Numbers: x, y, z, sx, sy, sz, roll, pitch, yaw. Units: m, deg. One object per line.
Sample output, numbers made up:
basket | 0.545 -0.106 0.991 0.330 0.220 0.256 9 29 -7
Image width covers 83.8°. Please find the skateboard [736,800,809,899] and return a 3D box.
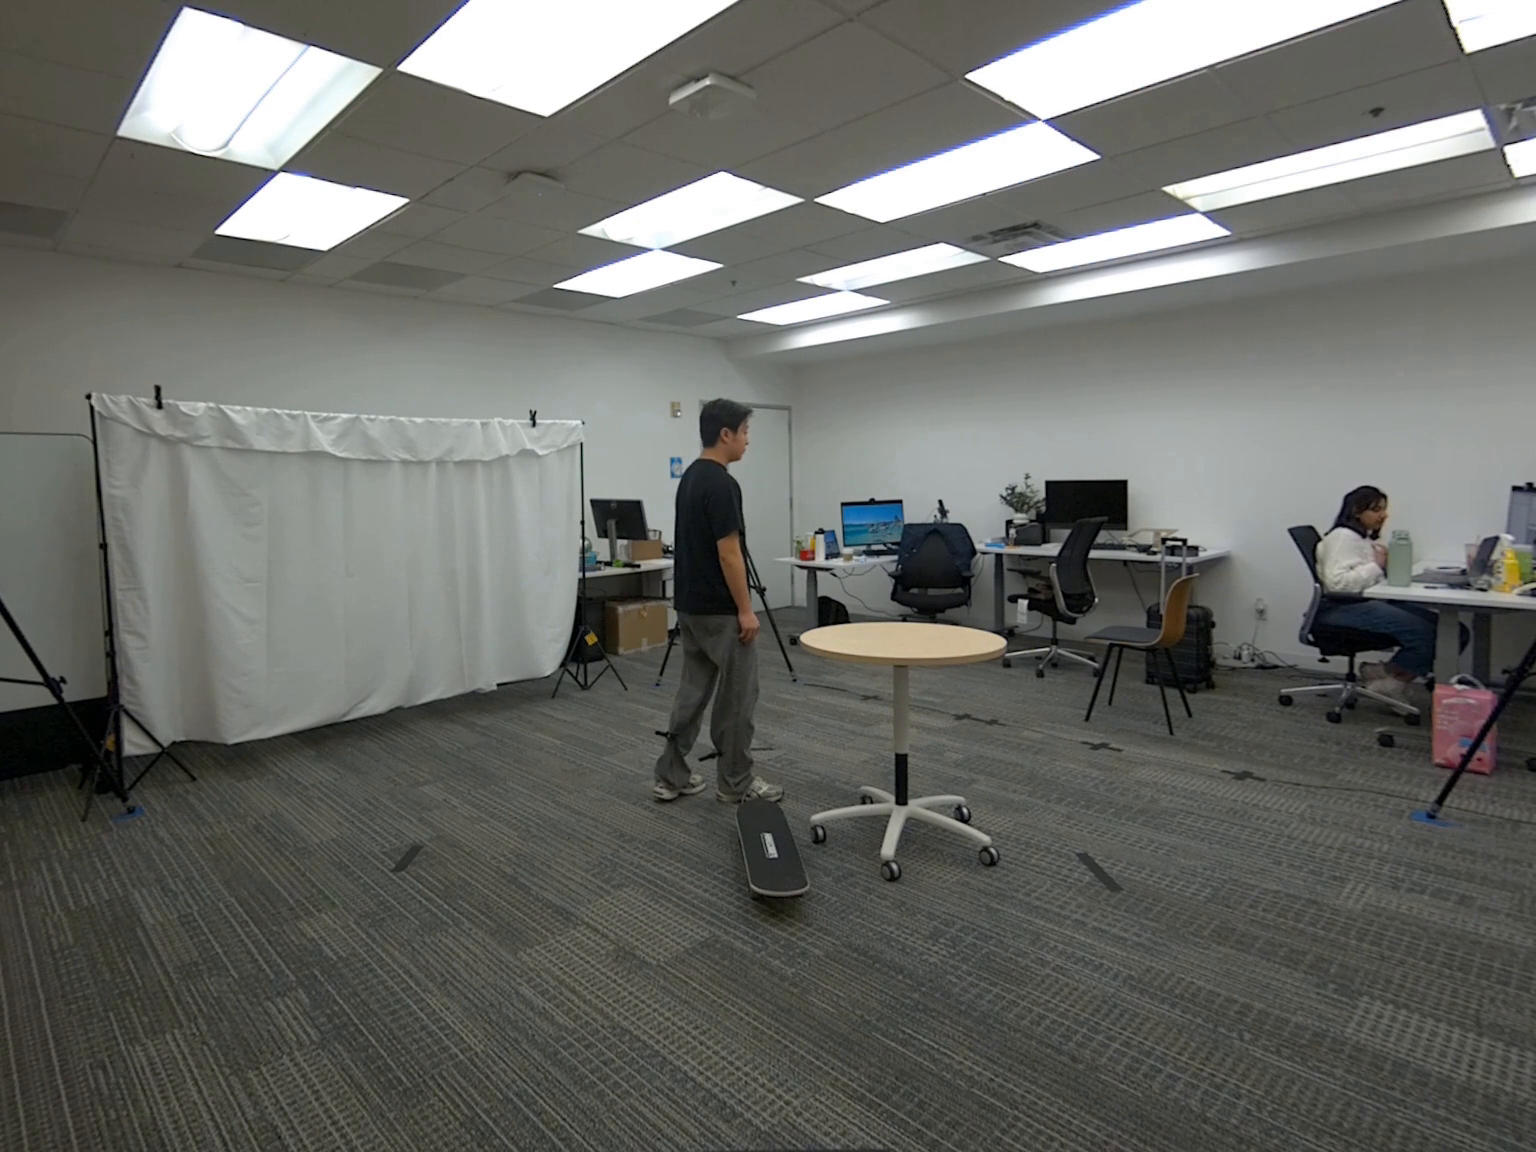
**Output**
skateboard | 0.007 0.993 3.058 0.192 0.110 0.793 -2 6 -7
